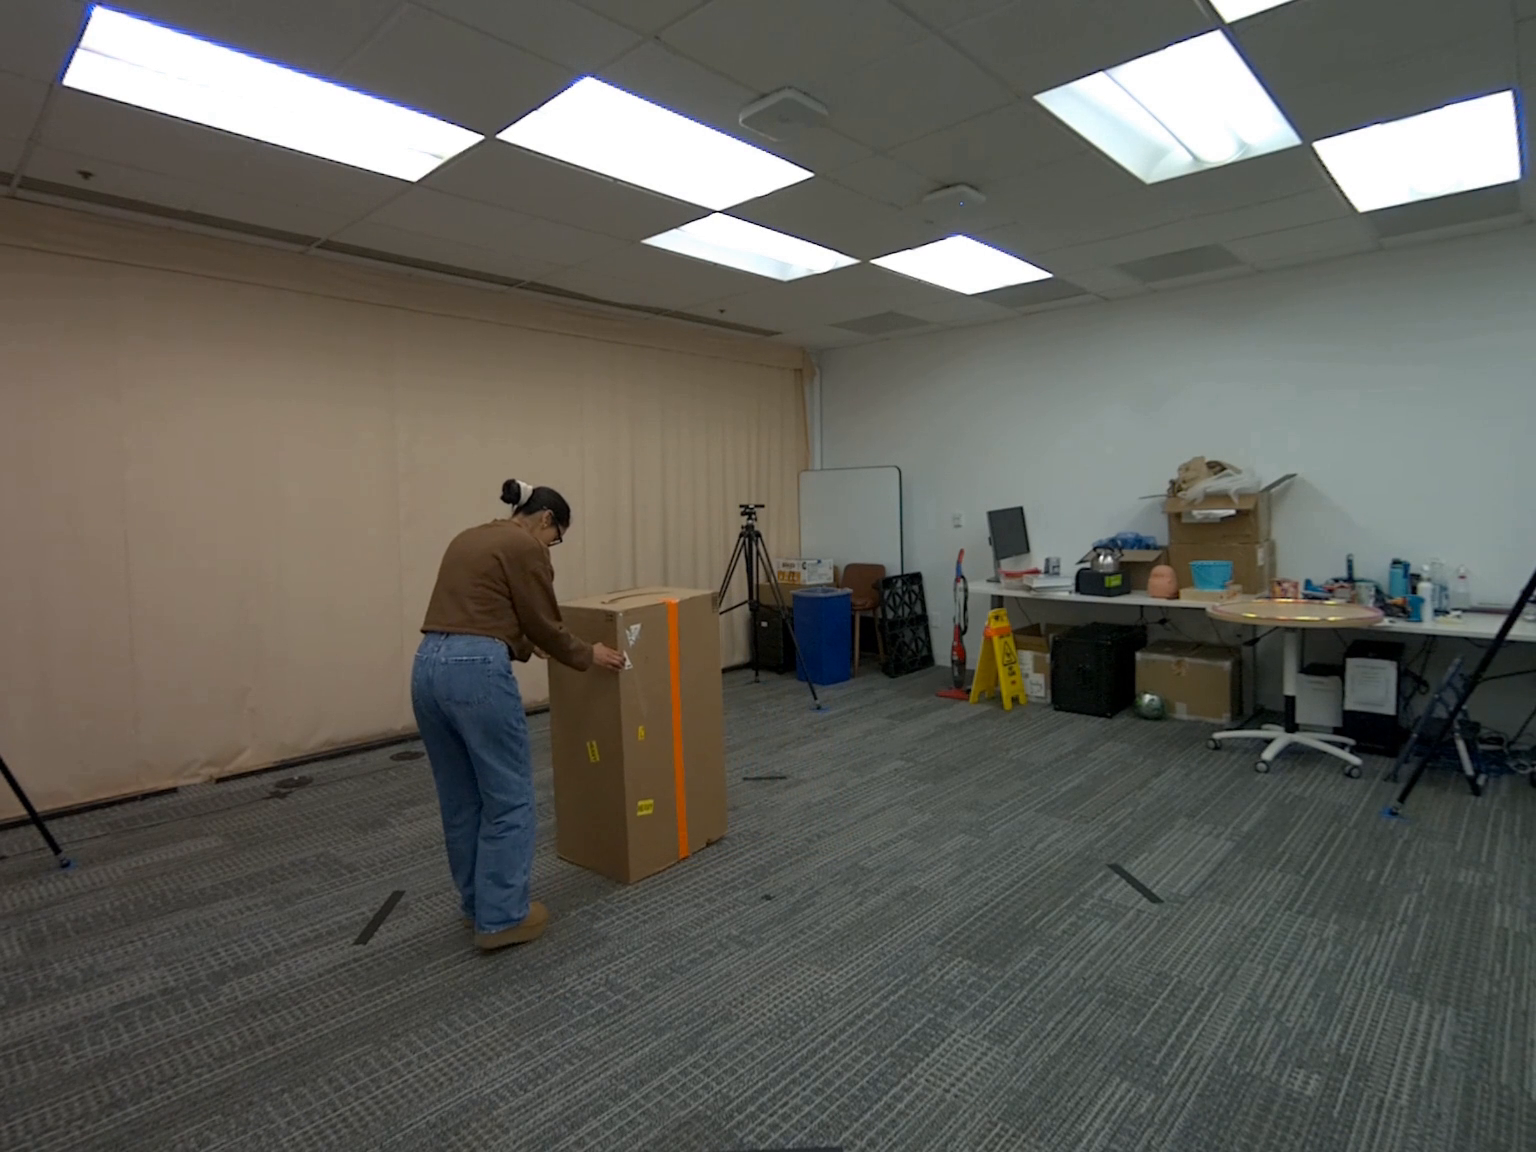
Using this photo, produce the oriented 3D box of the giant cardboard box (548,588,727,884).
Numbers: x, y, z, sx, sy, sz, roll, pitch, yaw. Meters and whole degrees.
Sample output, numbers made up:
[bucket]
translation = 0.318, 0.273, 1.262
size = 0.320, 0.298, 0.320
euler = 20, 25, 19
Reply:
[giant cardboard box]
translation = -0.520, 0.598, 3.414
size = 0.440, 1.022, 0.561
euler = 2, 6, 39
